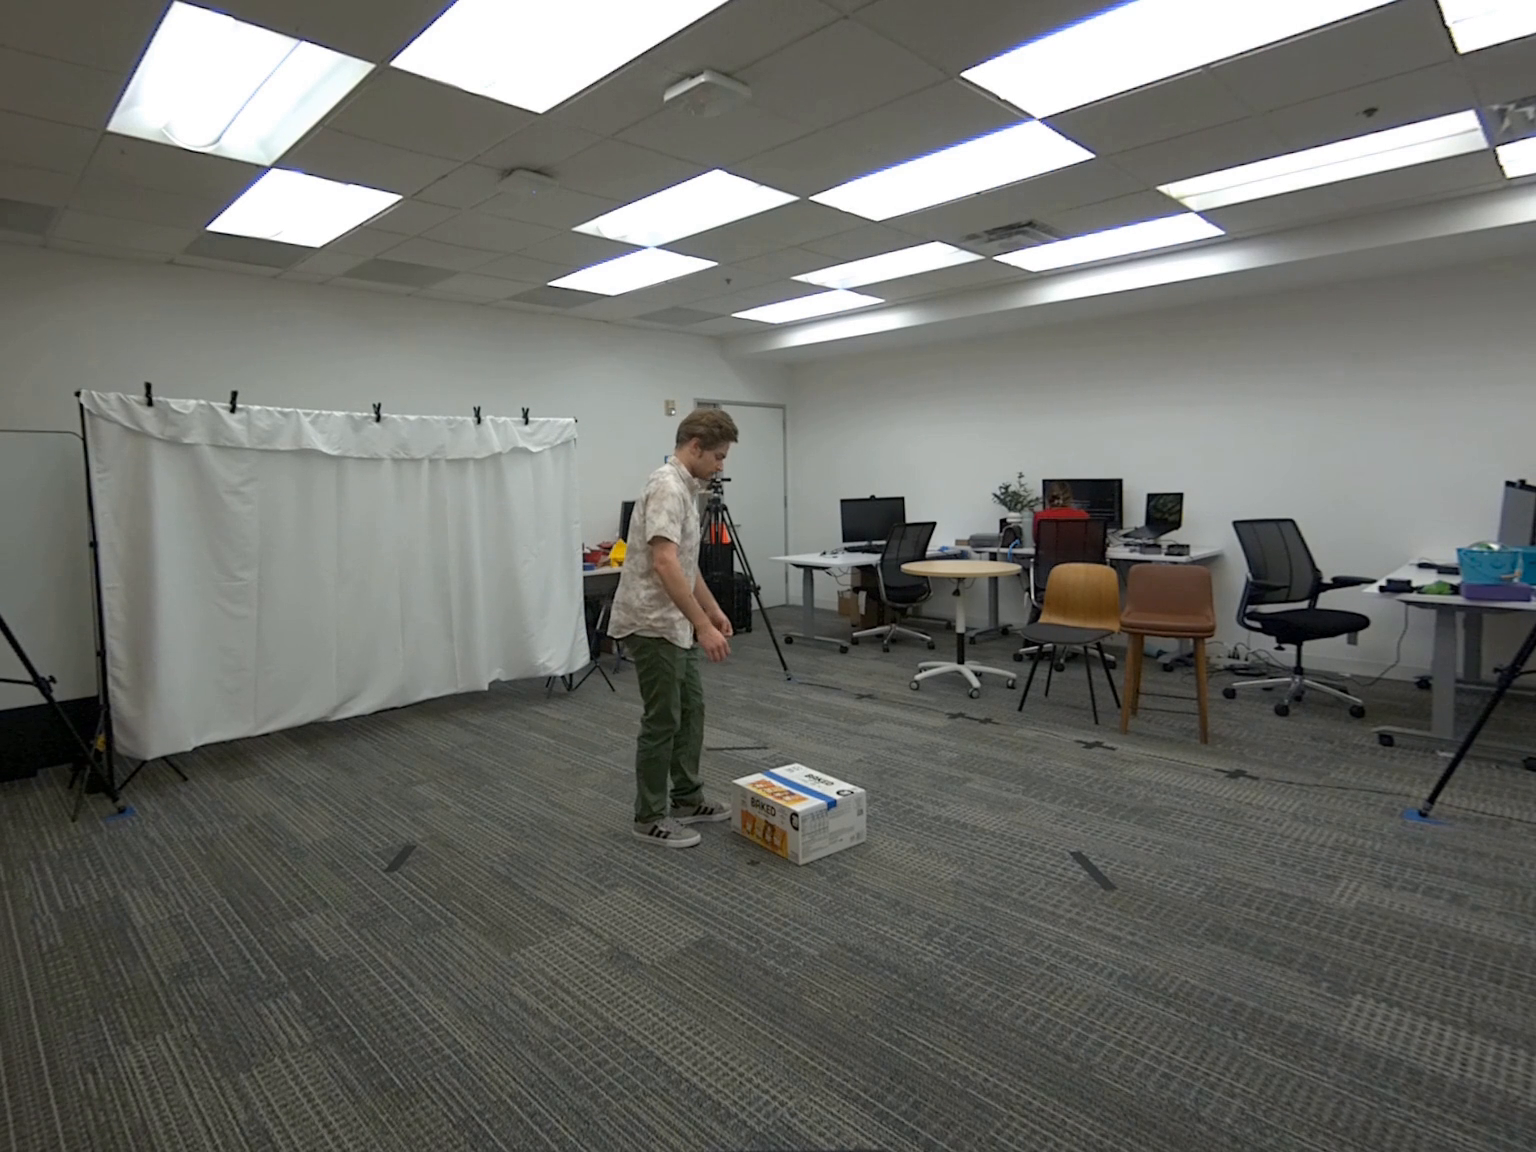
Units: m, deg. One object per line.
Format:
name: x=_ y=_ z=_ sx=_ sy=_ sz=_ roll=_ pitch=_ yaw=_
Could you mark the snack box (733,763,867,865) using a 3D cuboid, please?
snack box: x=0.117 y=0.915 z=3.316 sx=0.332 sy=0.205 sz=0.417 roll=-6 pitch=8 yaw=-37
